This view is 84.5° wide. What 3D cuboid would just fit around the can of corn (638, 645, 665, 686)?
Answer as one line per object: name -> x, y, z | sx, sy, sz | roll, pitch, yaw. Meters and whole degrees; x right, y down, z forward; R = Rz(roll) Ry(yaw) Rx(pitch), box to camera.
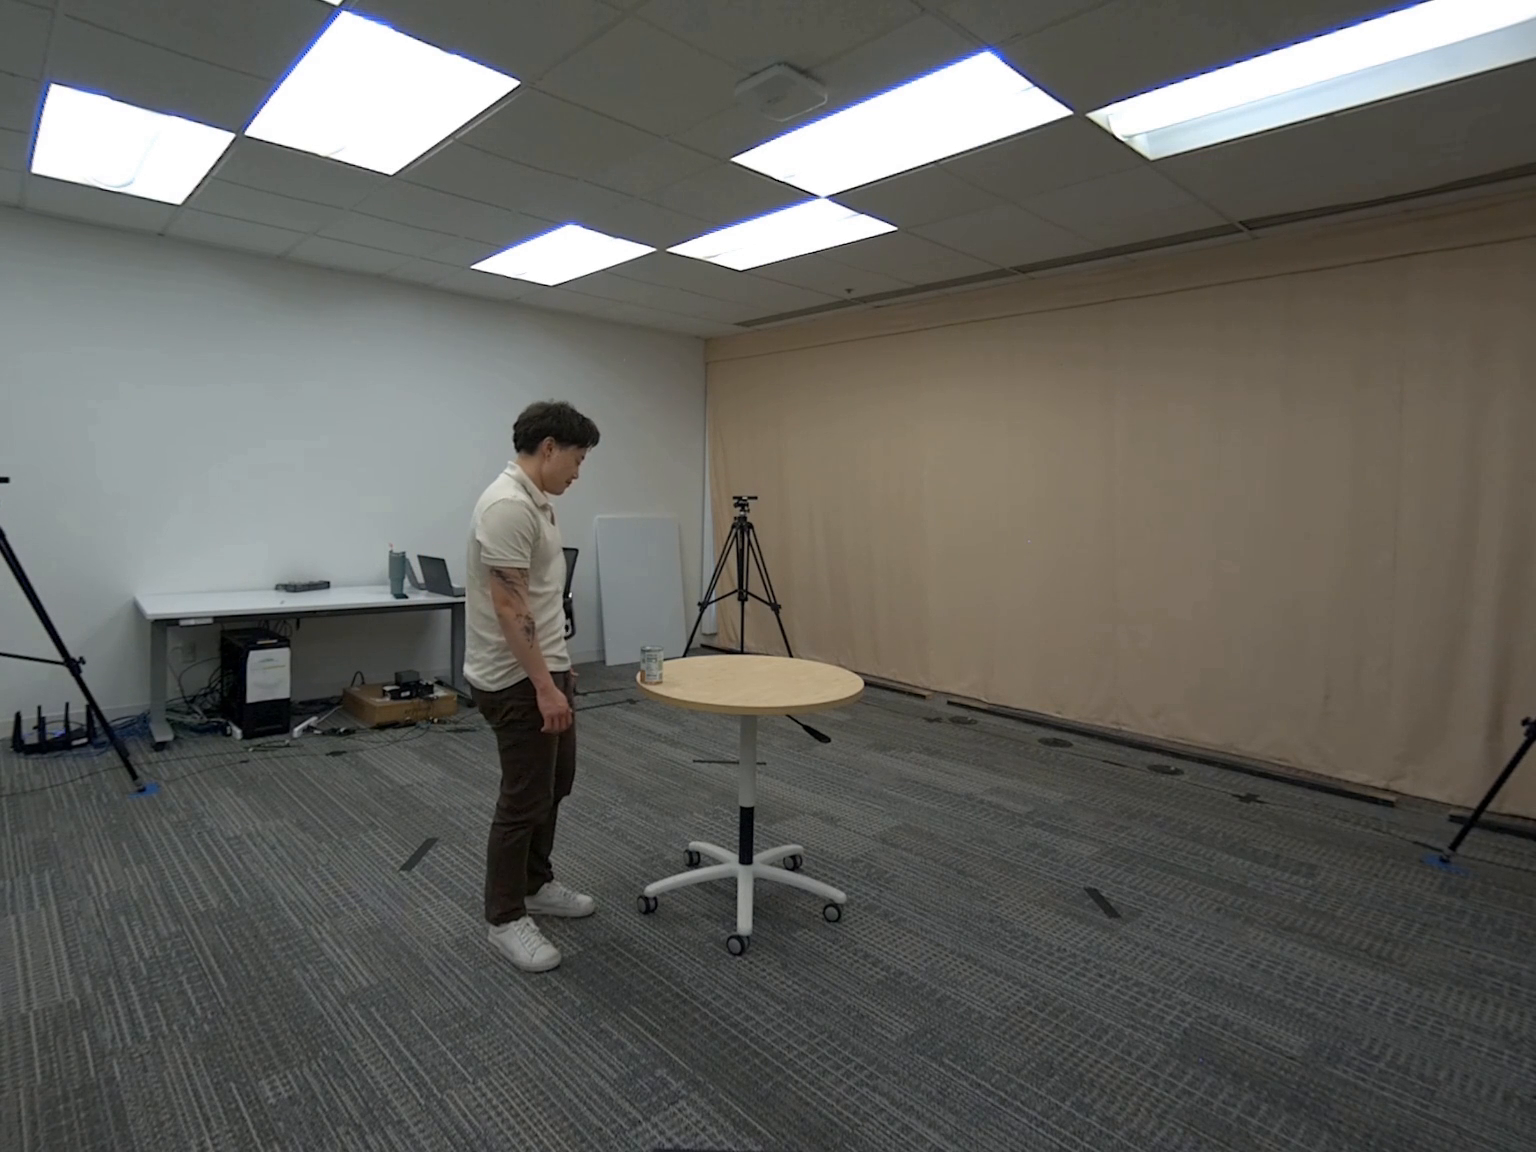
can of corn -> -0.388, 0.293, 2.735 | 0.074, 0.110, 0.074 | -1, 6, -1
